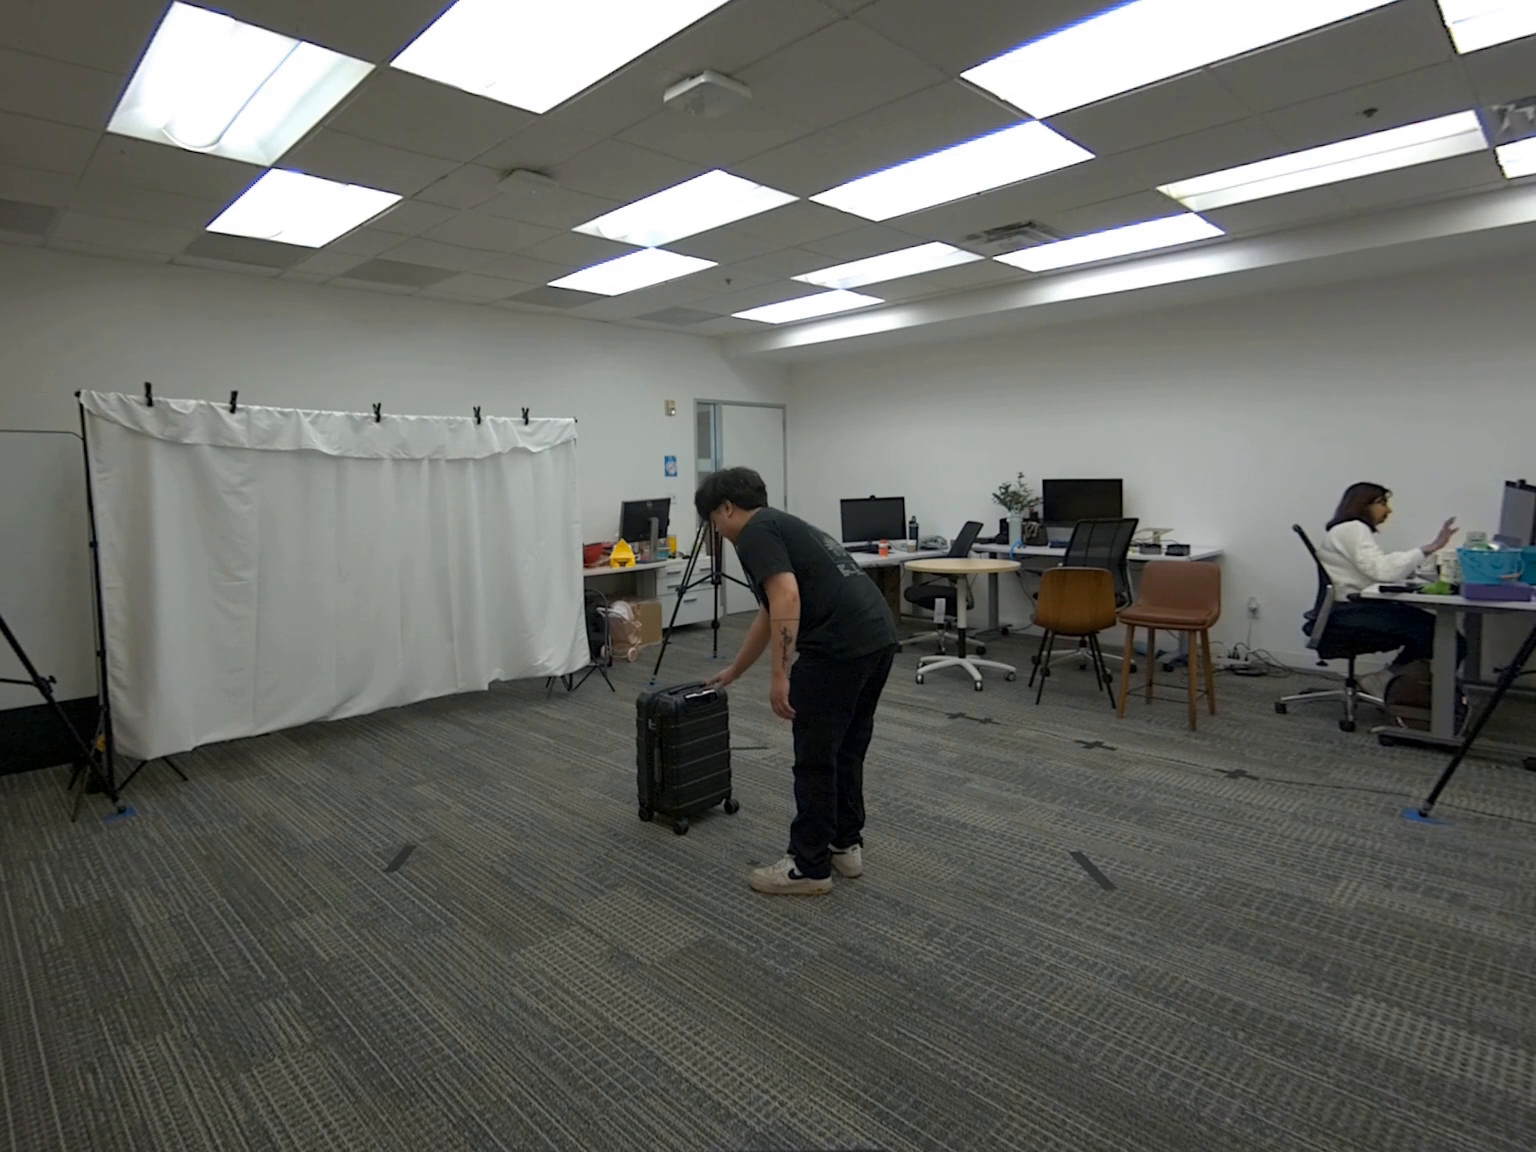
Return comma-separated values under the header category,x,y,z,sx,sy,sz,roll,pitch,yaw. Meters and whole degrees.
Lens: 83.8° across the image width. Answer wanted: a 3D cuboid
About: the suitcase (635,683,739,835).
category,x,y,z,sx,sy,sz,roll,pitch,yaw
suitcase,-0.347,0.721,3.545,0.255,0.548,0.365,-1,4,44
